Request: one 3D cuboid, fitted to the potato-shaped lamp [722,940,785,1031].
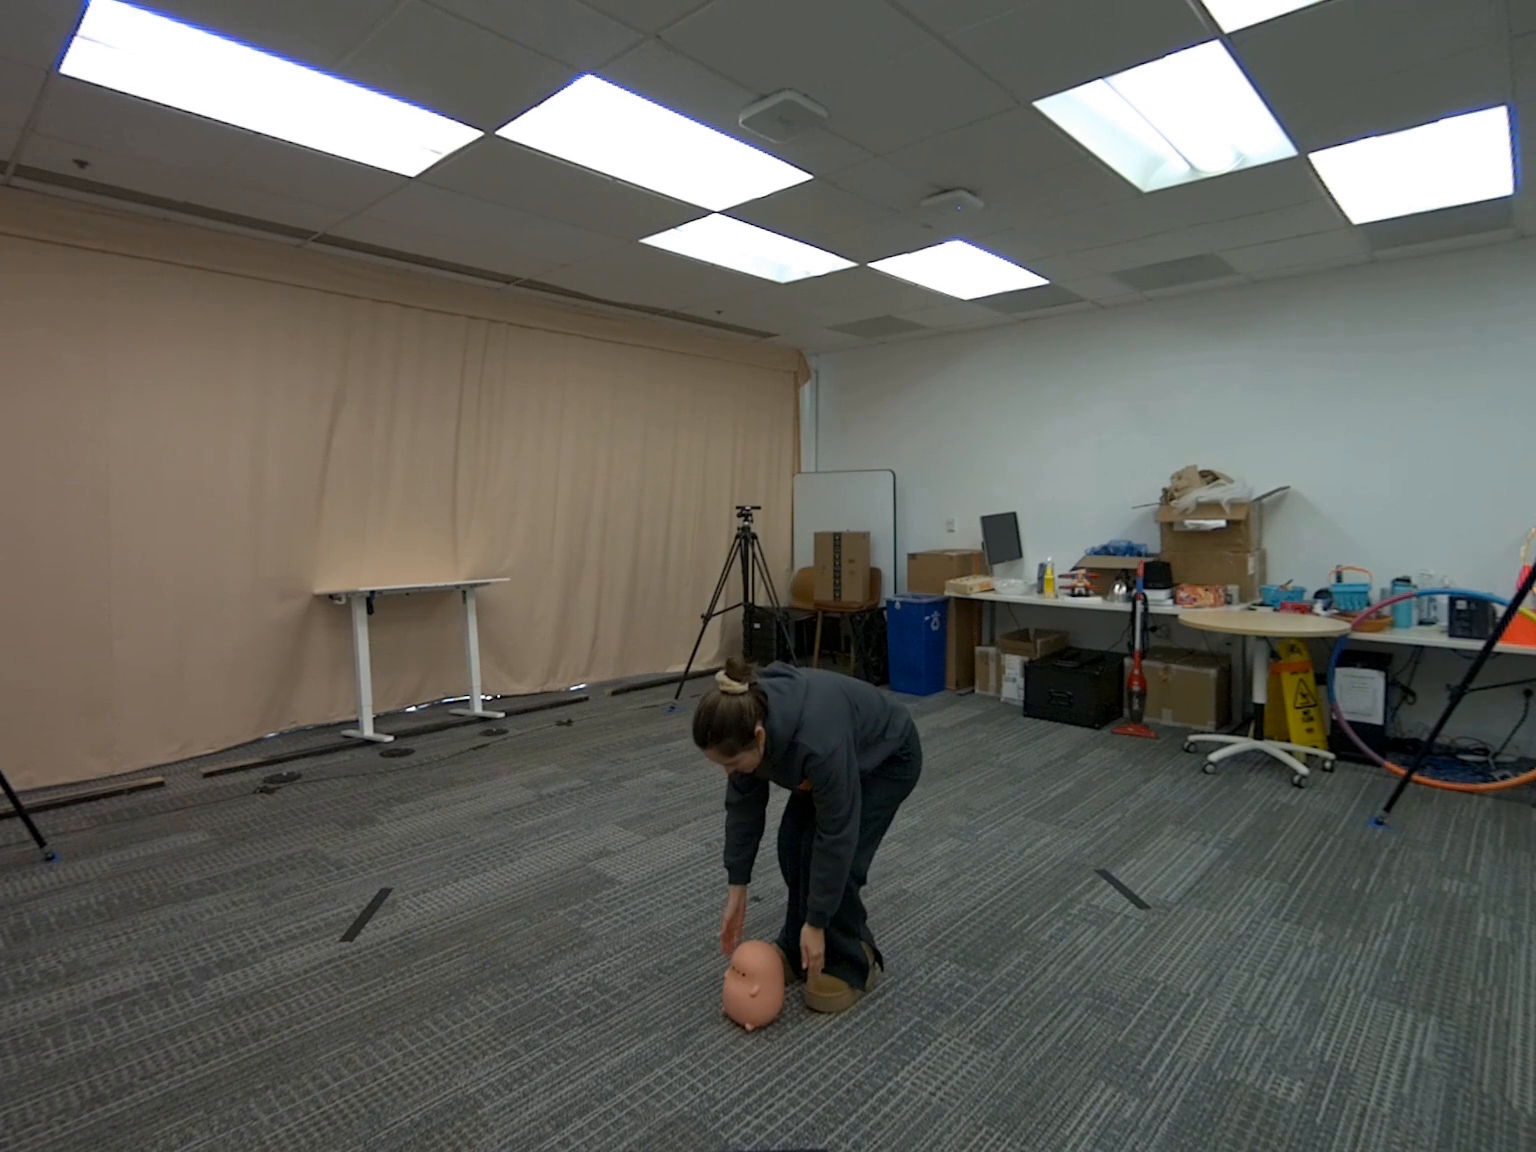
[{"bbox_3d":[-0.019,1.115,2.298,0.176,0.200,0.159,-7,-35,34],"label":"potato-shaped lamp"}]
